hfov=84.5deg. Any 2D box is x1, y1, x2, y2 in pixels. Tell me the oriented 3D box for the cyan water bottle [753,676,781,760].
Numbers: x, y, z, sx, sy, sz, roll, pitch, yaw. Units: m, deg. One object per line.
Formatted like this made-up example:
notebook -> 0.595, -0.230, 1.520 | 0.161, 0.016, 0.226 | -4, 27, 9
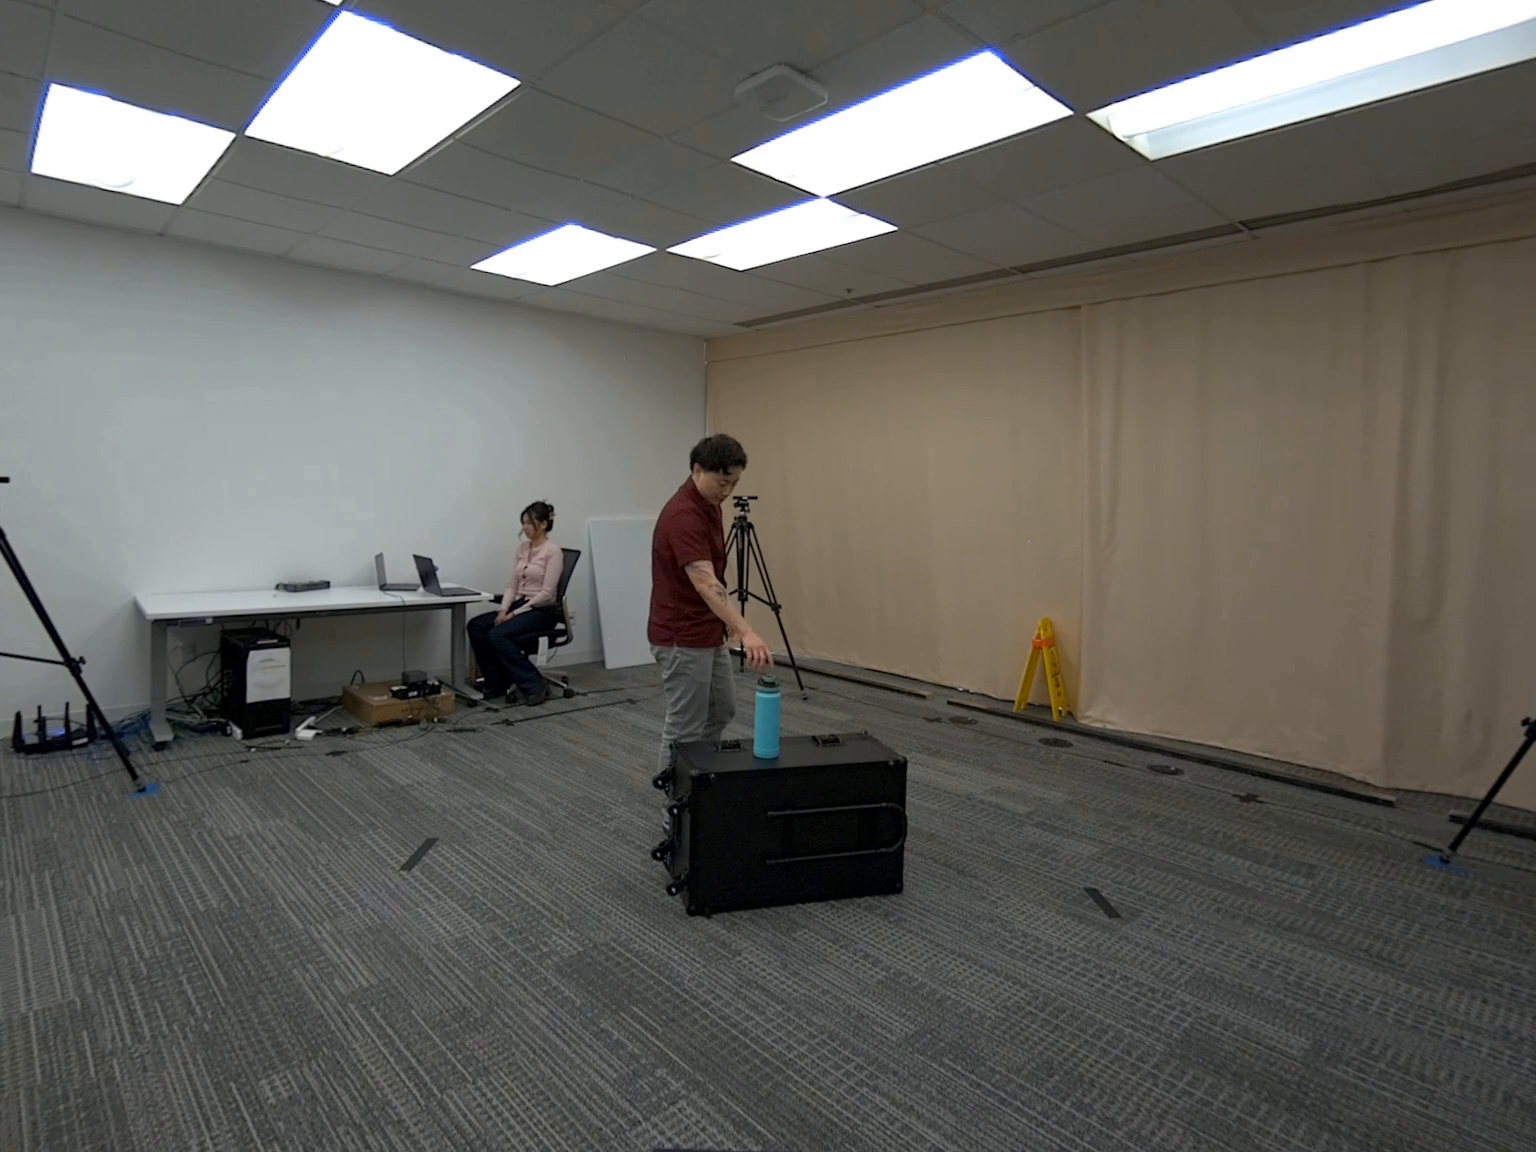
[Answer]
cyan water bottle -> -0.011, 0.495, 2.974 | 0.092, 0.283, 0.092 | 0, 1, -1
